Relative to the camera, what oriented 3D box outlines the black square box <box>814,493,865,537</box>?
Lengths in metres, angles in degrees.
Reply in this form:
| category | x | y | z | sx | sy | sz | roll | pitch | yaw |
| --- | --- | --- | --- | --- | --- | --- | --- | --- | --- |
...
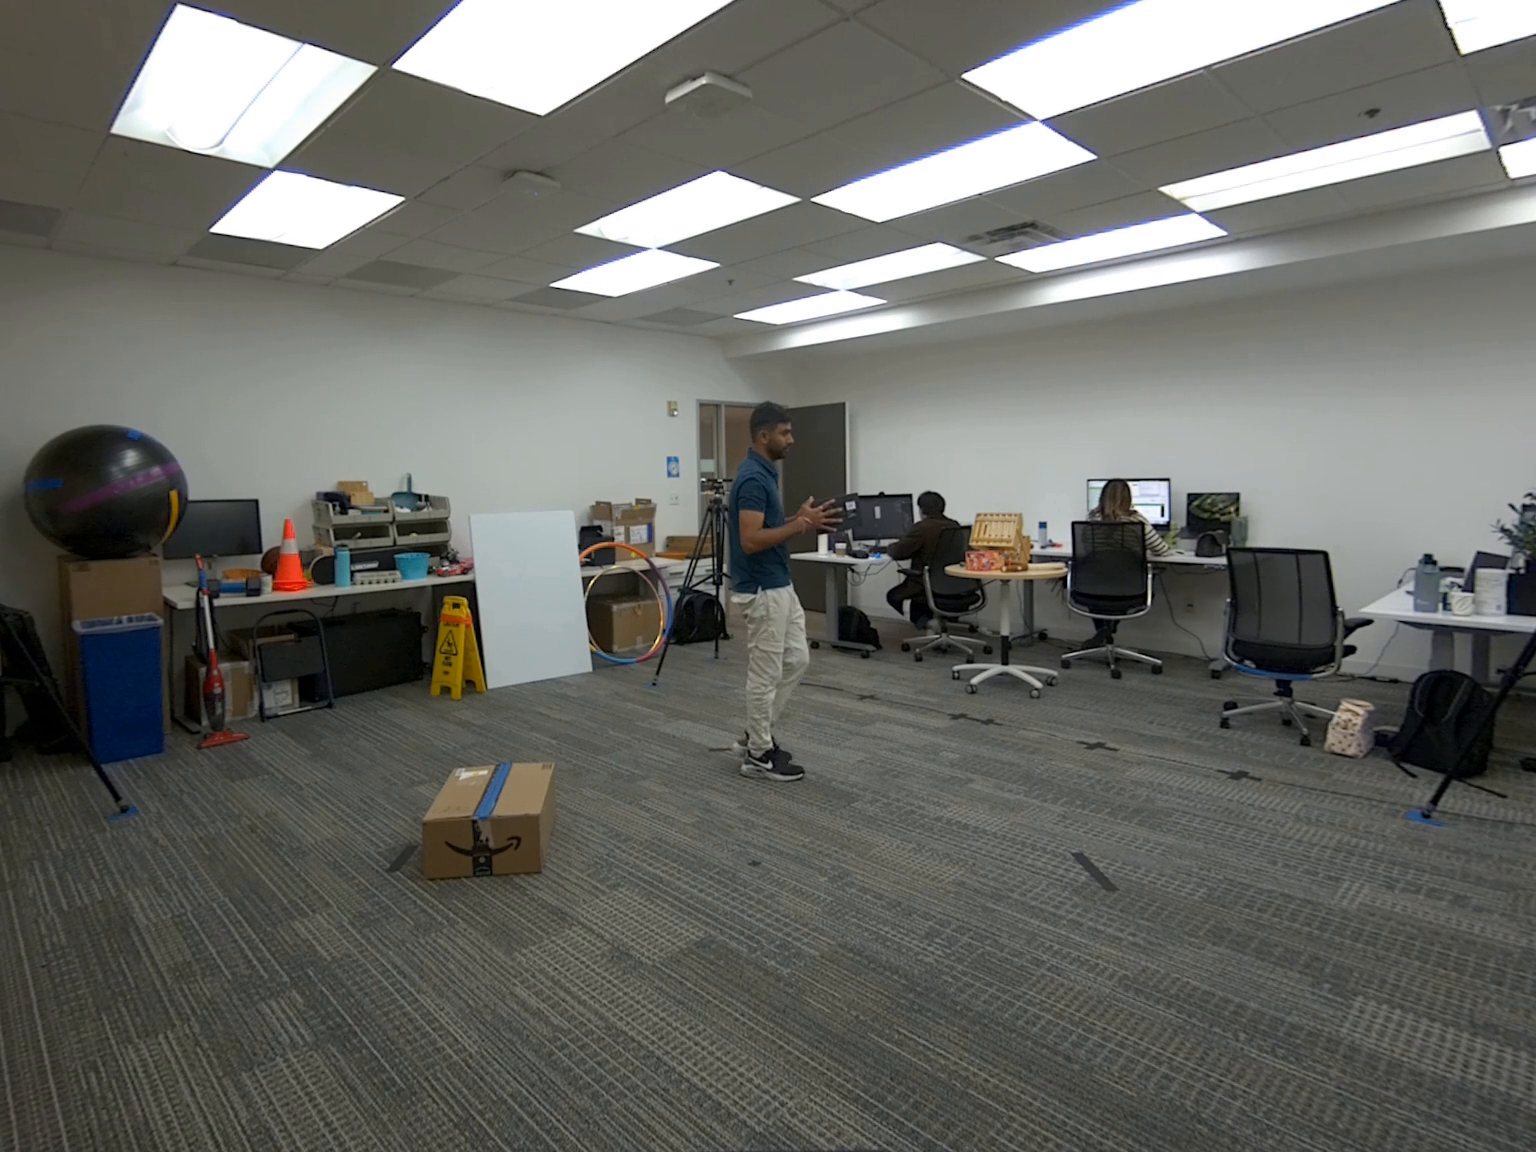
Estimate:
| category | x | y | z | sx | sy | sz | roll | pitch | yaw |
| --- | --- | --- | --- | --- | --- | --- | --- | --- | --- |
| black square box | 0.313 | -0.282 | 3.933 | 0.218 | 0.156 | 0.227 | -10 | 1 | 5 |
